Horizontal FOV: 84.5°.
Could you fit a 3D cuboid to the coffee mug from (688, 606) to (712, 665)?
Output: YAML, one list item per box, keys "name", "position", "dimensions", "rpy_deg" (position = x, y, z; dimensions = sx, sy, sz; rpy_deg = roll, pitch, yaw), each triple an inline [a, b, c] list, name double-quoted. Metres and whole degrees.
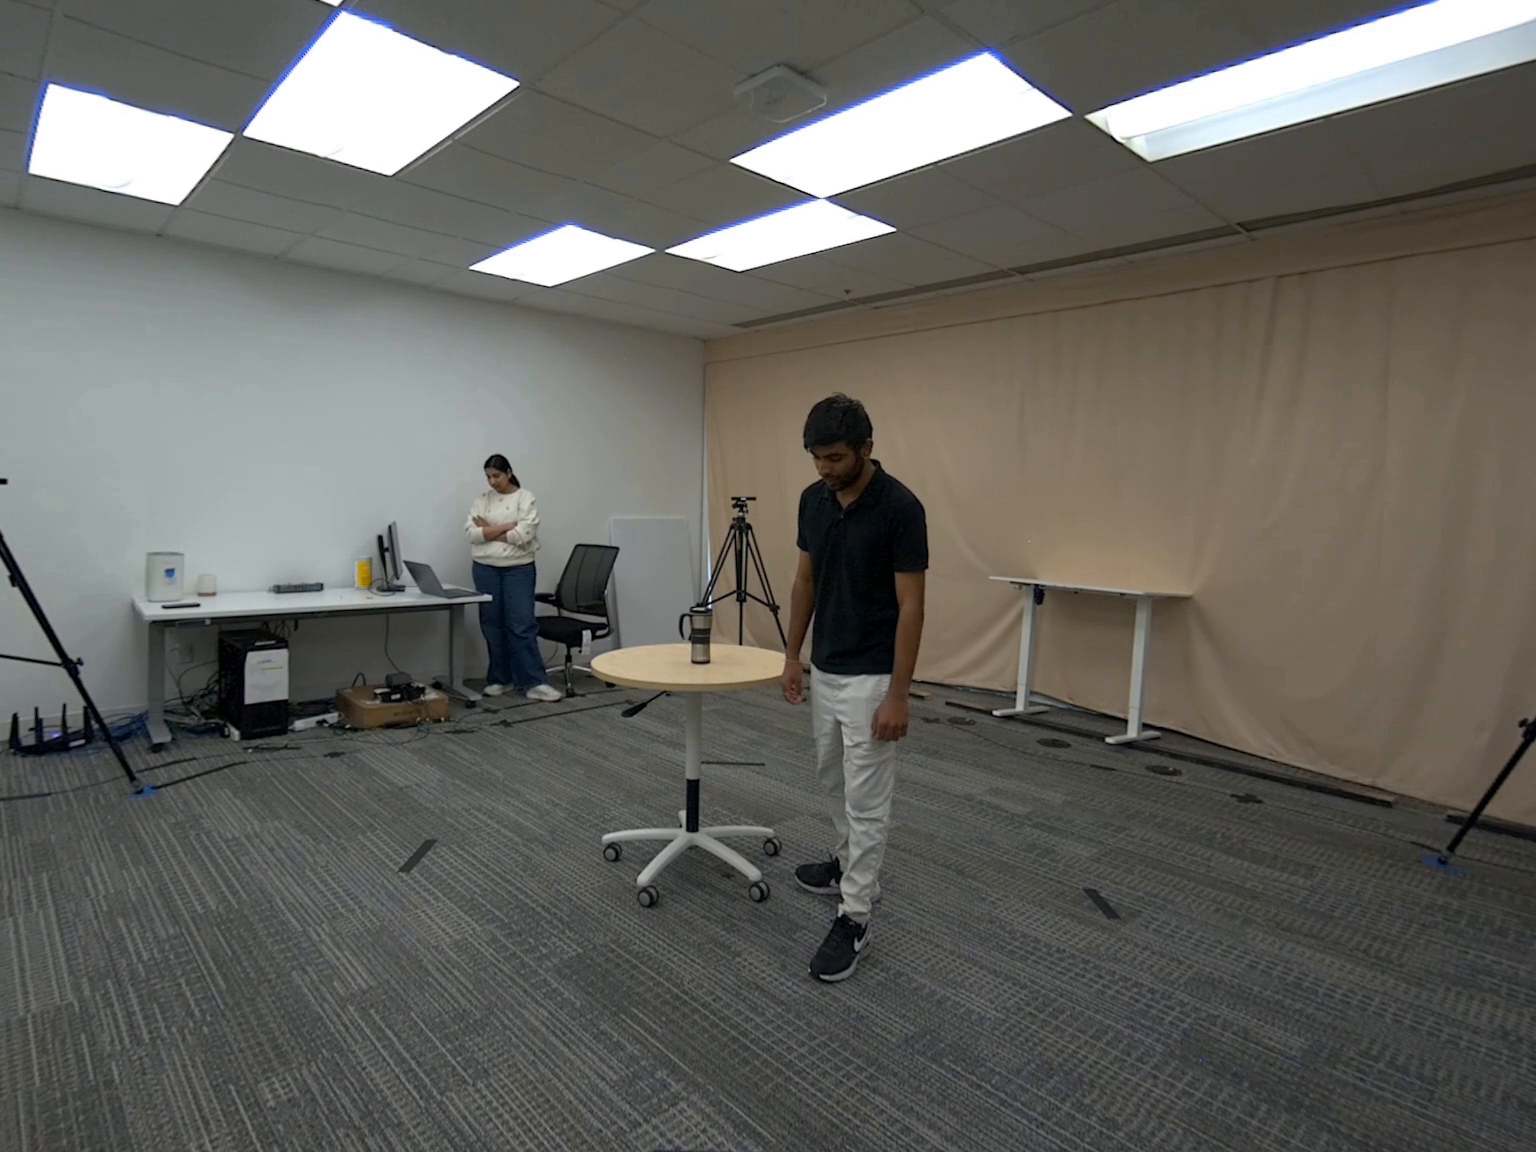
- name: "coffee mug"
  position: [-0.272, 0.222, 3.113]
  dimensions: [0.124, 0.202, 0.086]
  rpy_deg: [5, 7, 24]
